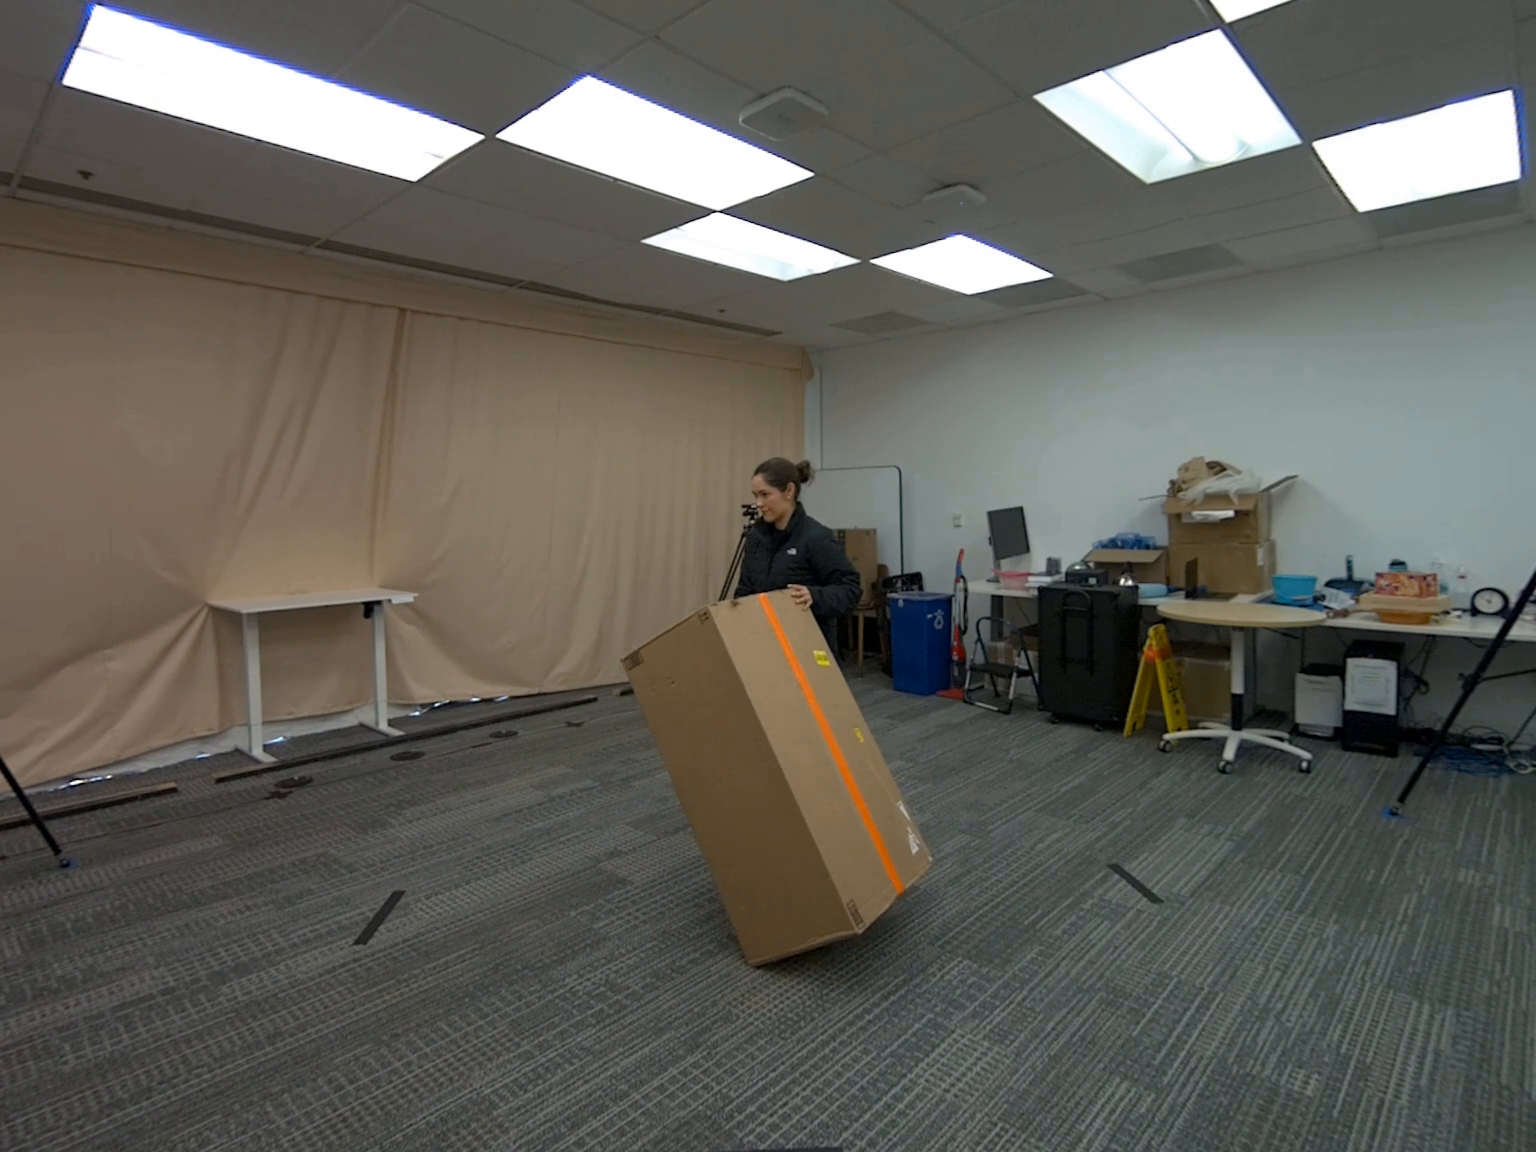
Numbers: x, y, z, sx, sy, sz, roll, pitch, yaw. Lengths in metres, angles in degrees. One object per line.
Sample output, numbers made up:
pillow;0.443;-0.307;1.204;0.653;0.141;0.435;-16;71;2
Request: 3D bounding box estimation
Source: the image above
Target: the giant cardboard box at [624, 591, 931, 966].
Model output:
giant cardboard box;0.047;0.611;2.786;0.432;1.040;0.561;-33;-15;29
